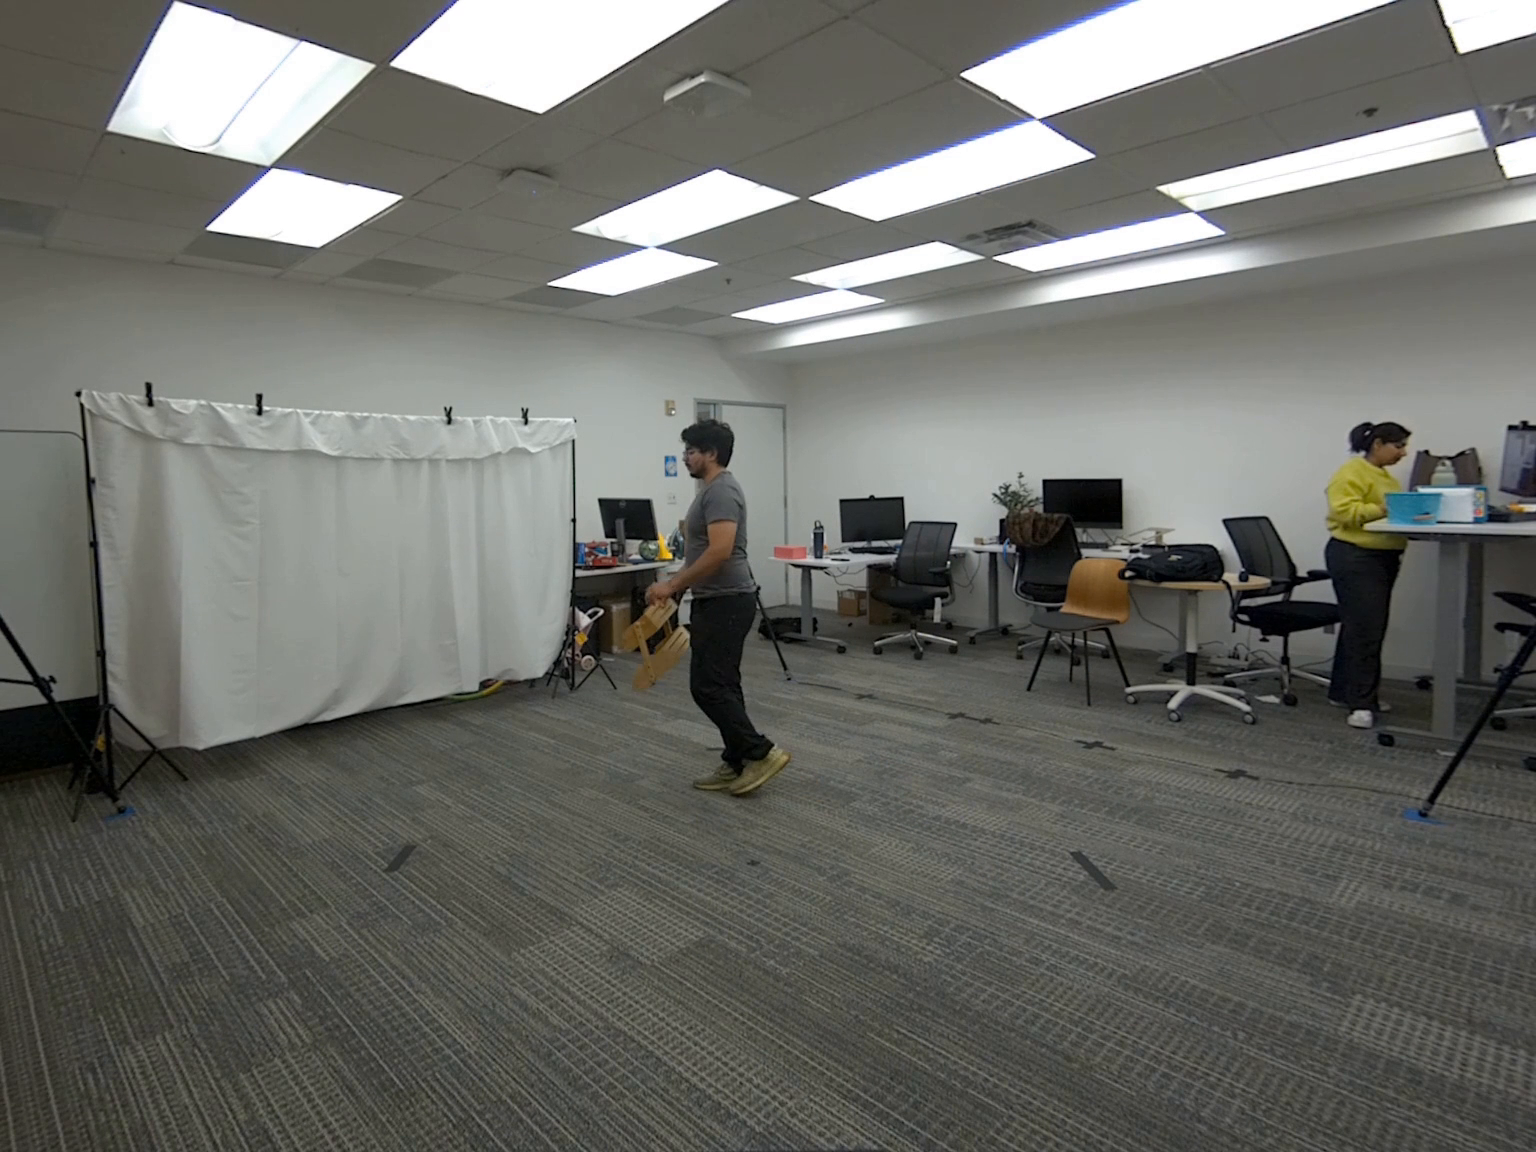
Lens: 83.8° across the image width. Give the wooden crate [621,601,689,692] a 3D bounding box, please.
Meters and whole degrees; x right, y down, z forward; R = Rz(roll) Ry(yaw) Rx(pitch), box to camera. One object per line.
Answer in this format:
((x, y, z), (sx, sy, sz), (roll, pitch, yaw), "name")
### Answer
((-0.533, 0.306, 3.958), (0.303, 0.273, 0.325), (-41, 4, 20), "wooden crate")
